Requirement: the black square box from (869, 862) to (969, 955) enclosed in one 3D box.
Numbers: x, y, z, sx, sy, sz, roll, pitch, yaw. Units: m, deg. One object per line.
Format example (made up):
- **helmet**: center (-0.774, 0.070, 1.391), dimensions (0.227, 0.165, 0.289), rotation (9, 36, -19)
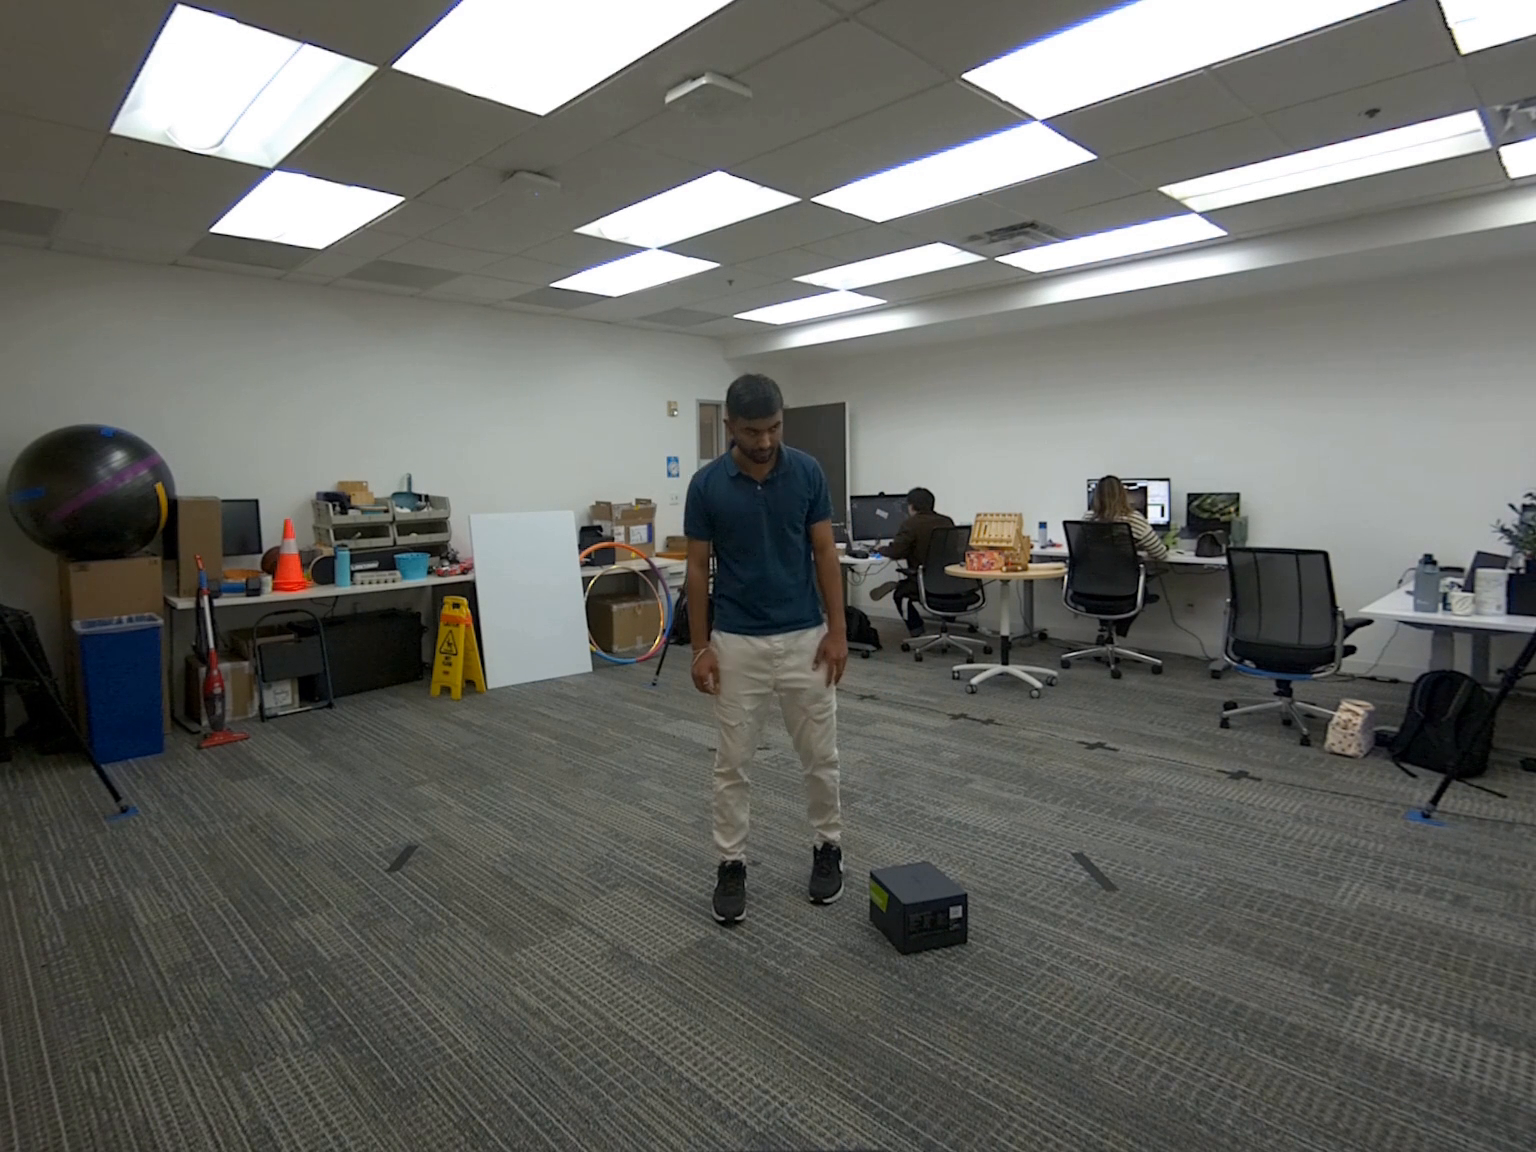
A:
- **black square box**: center (0.465, 1.010, 2.615), dimensions (0.213, 0.155, 0.232), rotation (-3, 5, -18)
